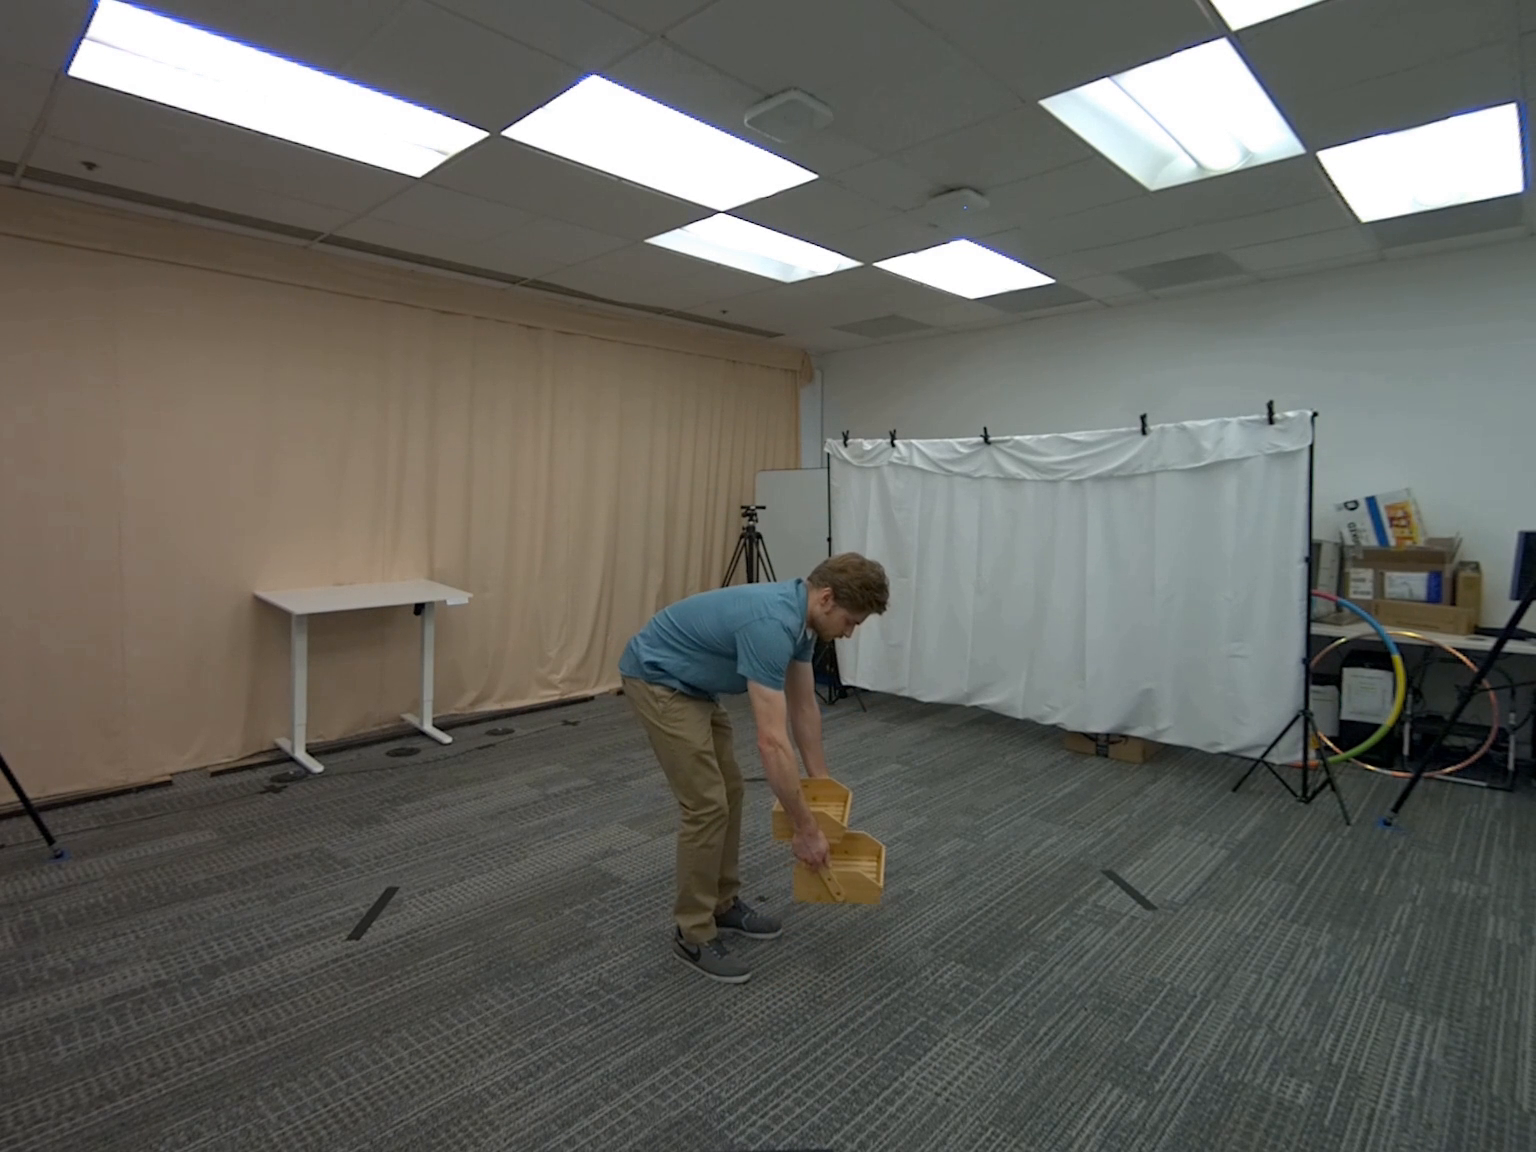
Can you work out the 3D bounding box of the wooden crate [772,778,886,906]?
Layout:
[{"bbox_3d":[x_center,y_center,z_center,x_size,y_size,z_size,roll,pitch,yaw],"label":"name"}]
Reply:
[{"bbox_3d":[0.196,0.783,2.510,0.306,0.273,0.321,-3,3,11],"label":"wooden crate"}]
